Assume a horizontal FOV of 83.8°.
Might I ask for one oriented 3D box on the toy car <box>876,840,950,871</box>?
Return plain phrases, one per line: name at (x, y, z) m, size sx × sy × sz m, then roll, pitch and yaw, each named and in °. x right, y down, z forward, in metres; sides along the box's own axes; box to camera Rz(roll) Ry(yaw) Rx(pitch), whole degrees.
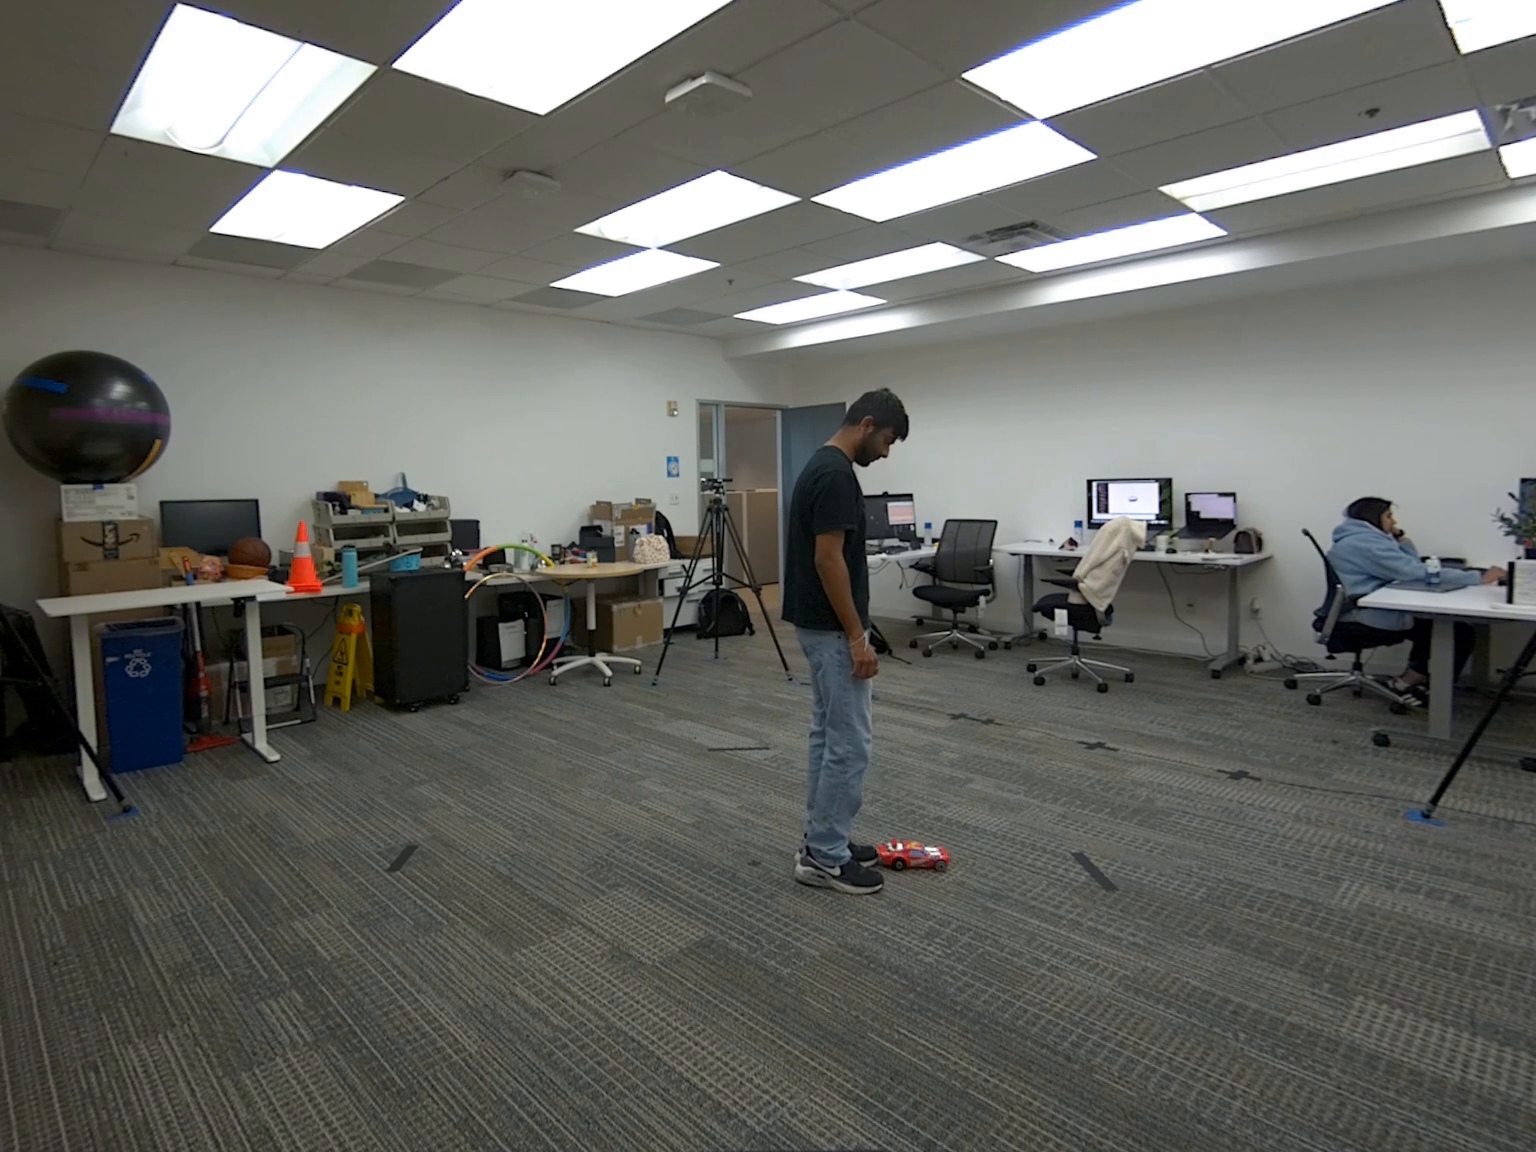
toy car at (0.514, 1.001, 3.066) m, size 0.256 × 0.083 × 0.130 m, roll 11°, pitch 7°, yaw 4°
